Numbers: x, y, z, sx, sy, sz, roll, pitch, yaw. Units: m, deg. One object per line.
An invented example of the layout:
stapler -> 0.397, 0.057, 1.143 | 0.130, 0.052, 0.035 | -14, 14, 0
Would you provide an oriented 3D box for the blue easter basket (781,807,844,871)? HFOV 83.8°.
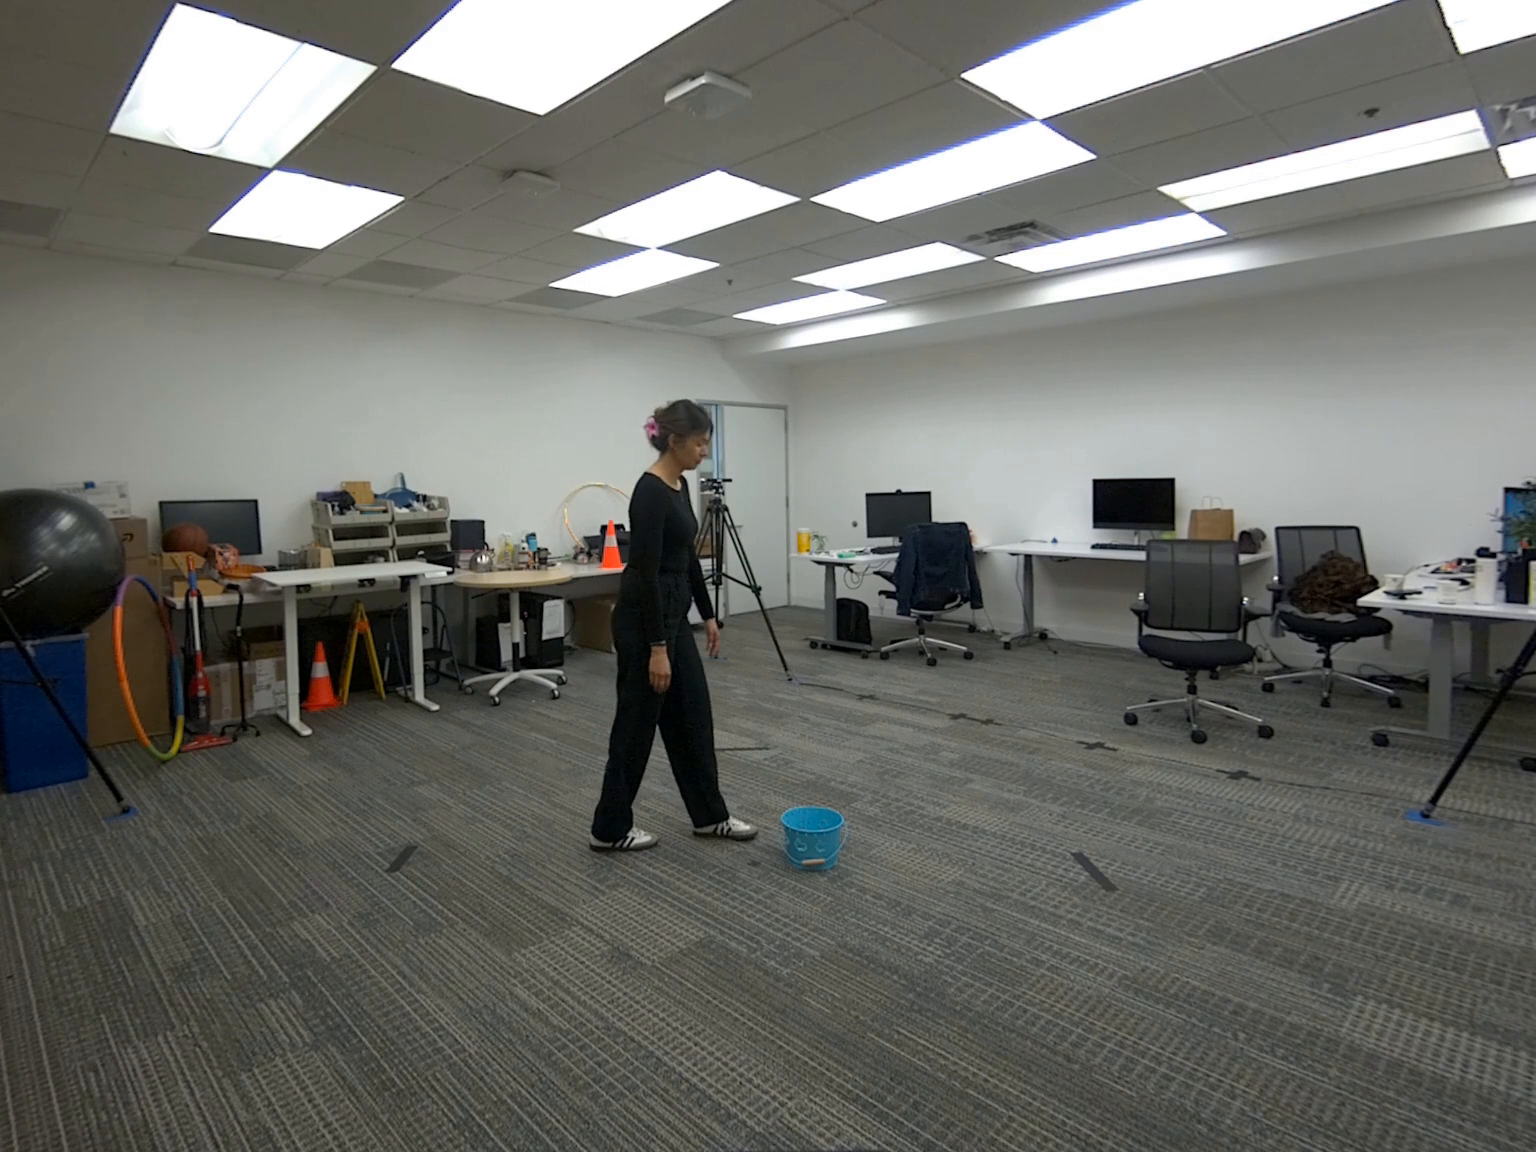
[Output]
blue easter basket -> 0.156, 0.955, 3.127 | 0.243, 0.155, 0.245 | 0, 5, -2
